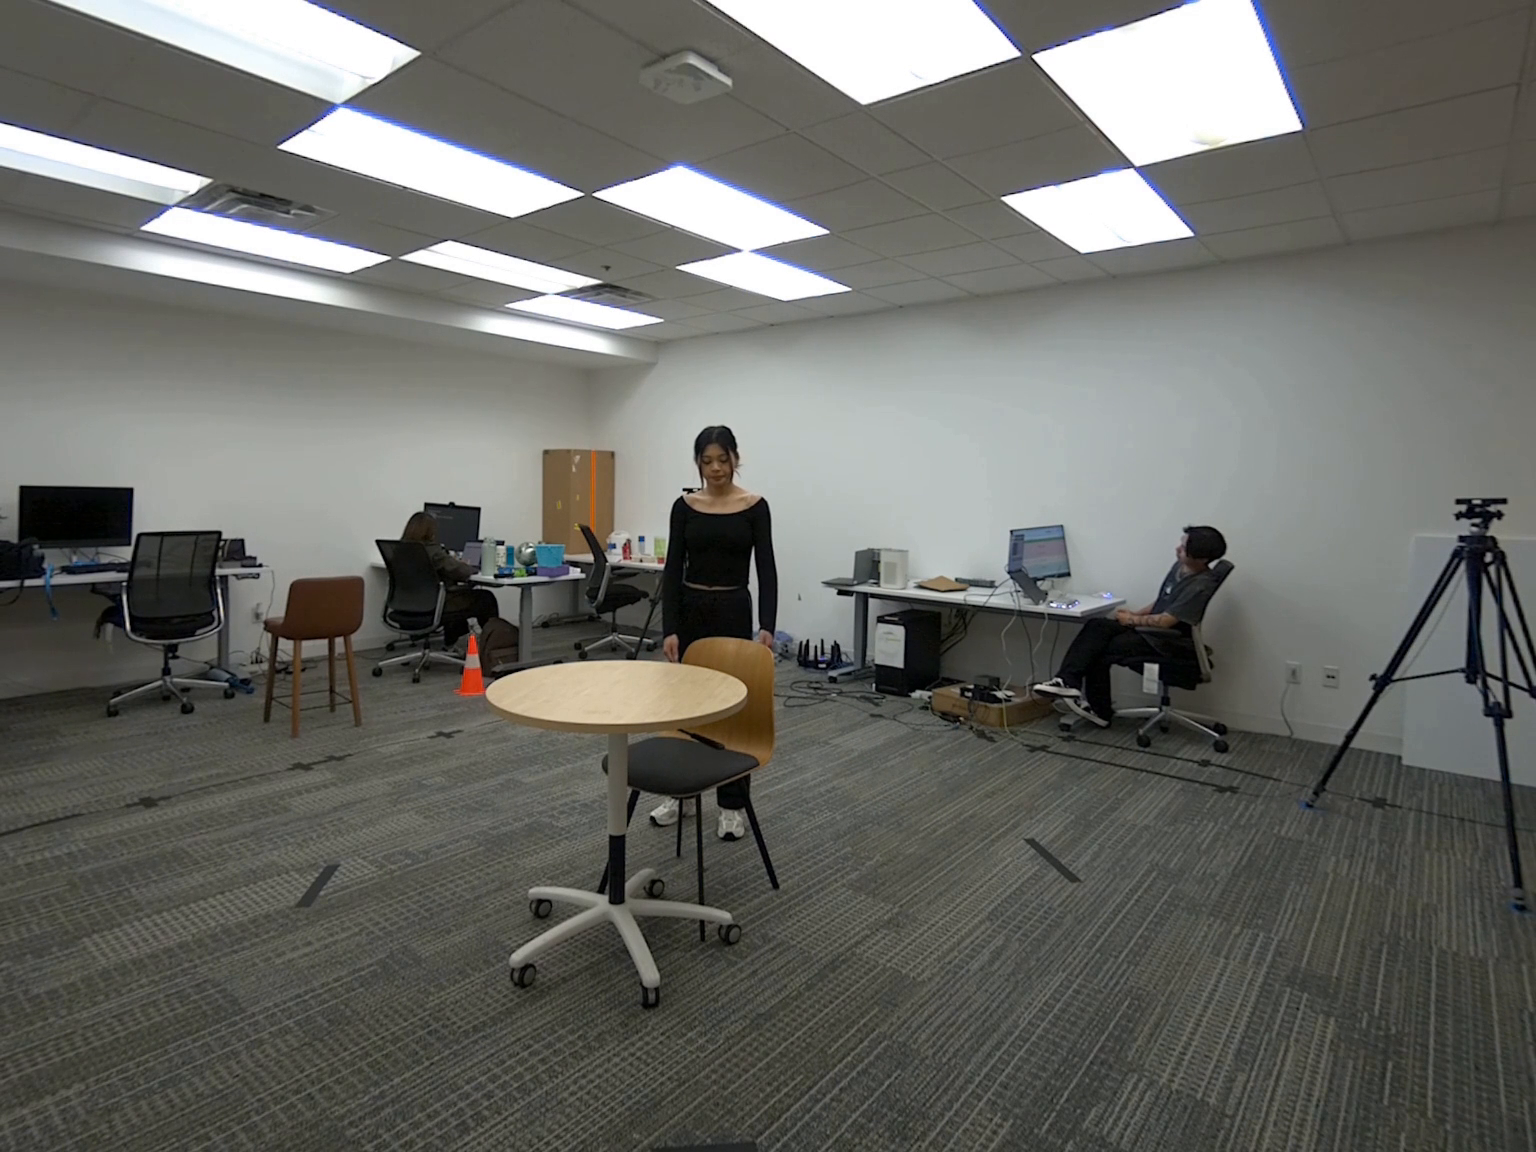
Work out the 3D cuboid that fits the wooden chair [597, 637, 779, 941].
[{"bbox_3d":[-0.268,0.661,2.880,0.493,0.878,0.507,4,0,34],"label":"wooden chair"}]
